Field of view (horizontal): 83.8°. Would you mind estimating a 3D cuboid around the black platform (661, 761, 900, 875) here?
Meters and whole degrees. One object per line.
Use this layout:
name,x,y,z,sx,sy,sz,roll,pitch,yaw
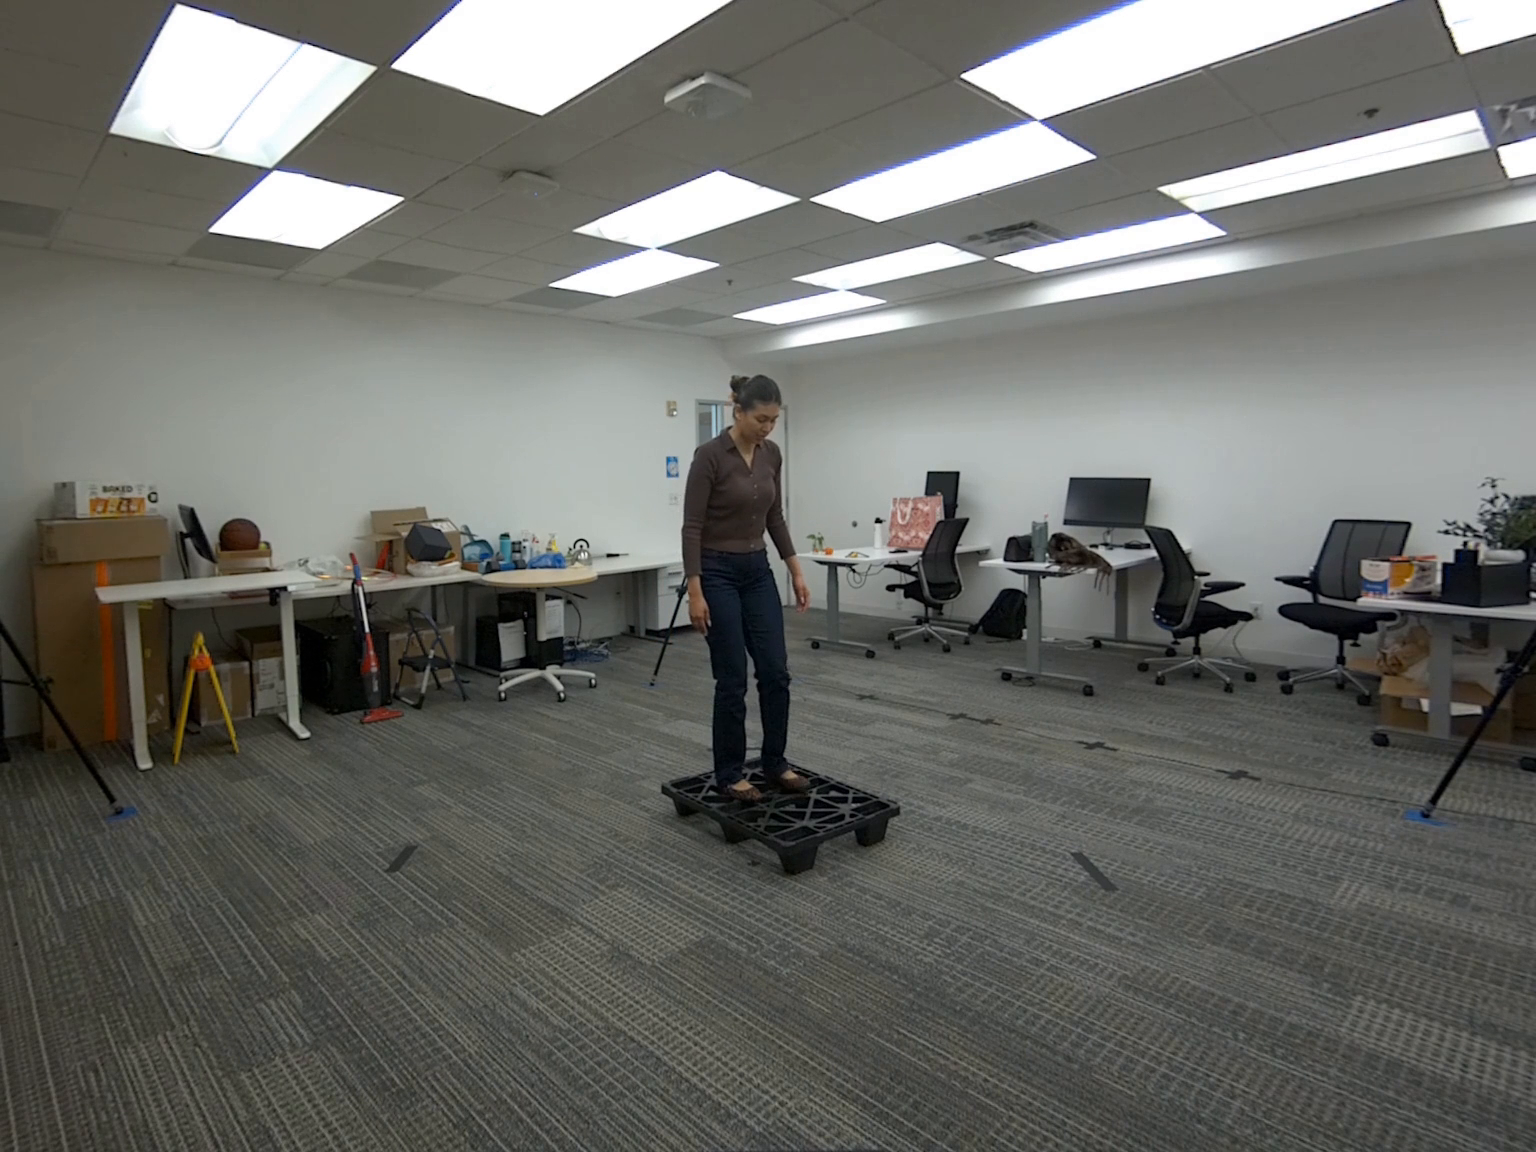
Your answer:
black platform,0.034,0.940,3.424,0.590,0.142,0.830,-7,8,-38
